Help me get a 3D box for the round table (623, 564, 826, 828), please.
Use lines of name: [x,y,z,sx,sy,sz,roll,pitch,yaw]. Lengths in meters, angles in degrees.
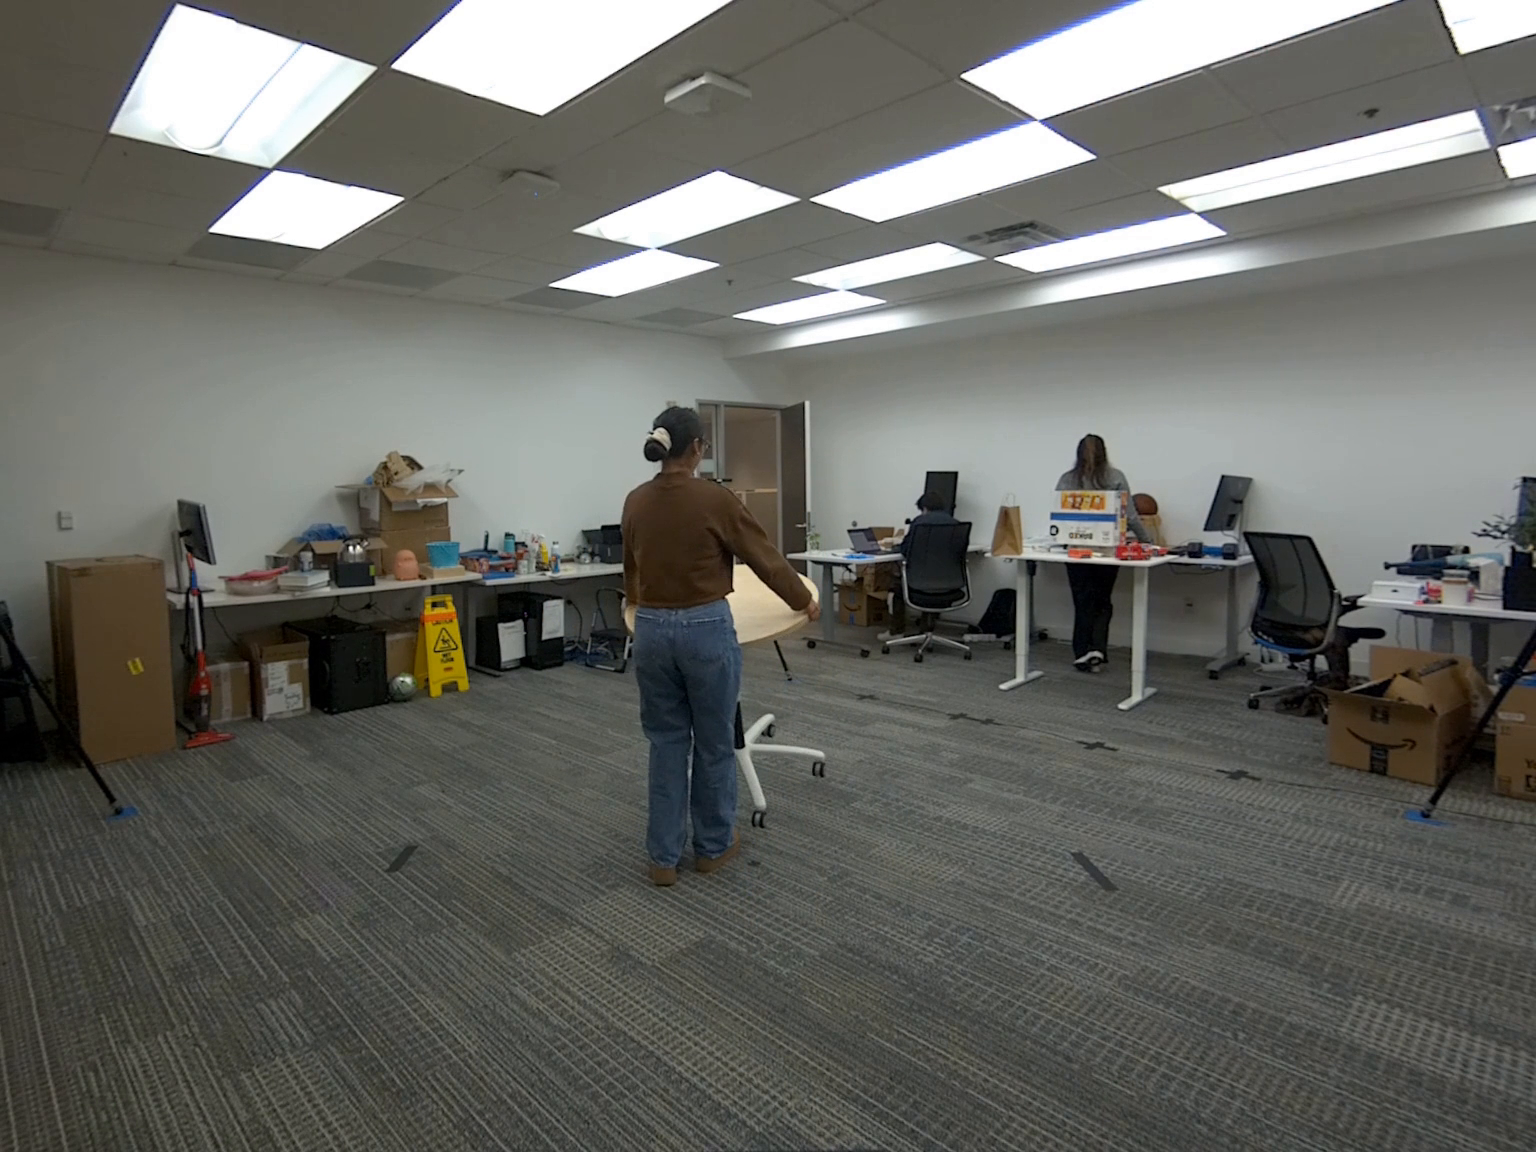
round table: [-0.149,0.471,3.508,0.786,0.772,0.799,-6,20,0]
